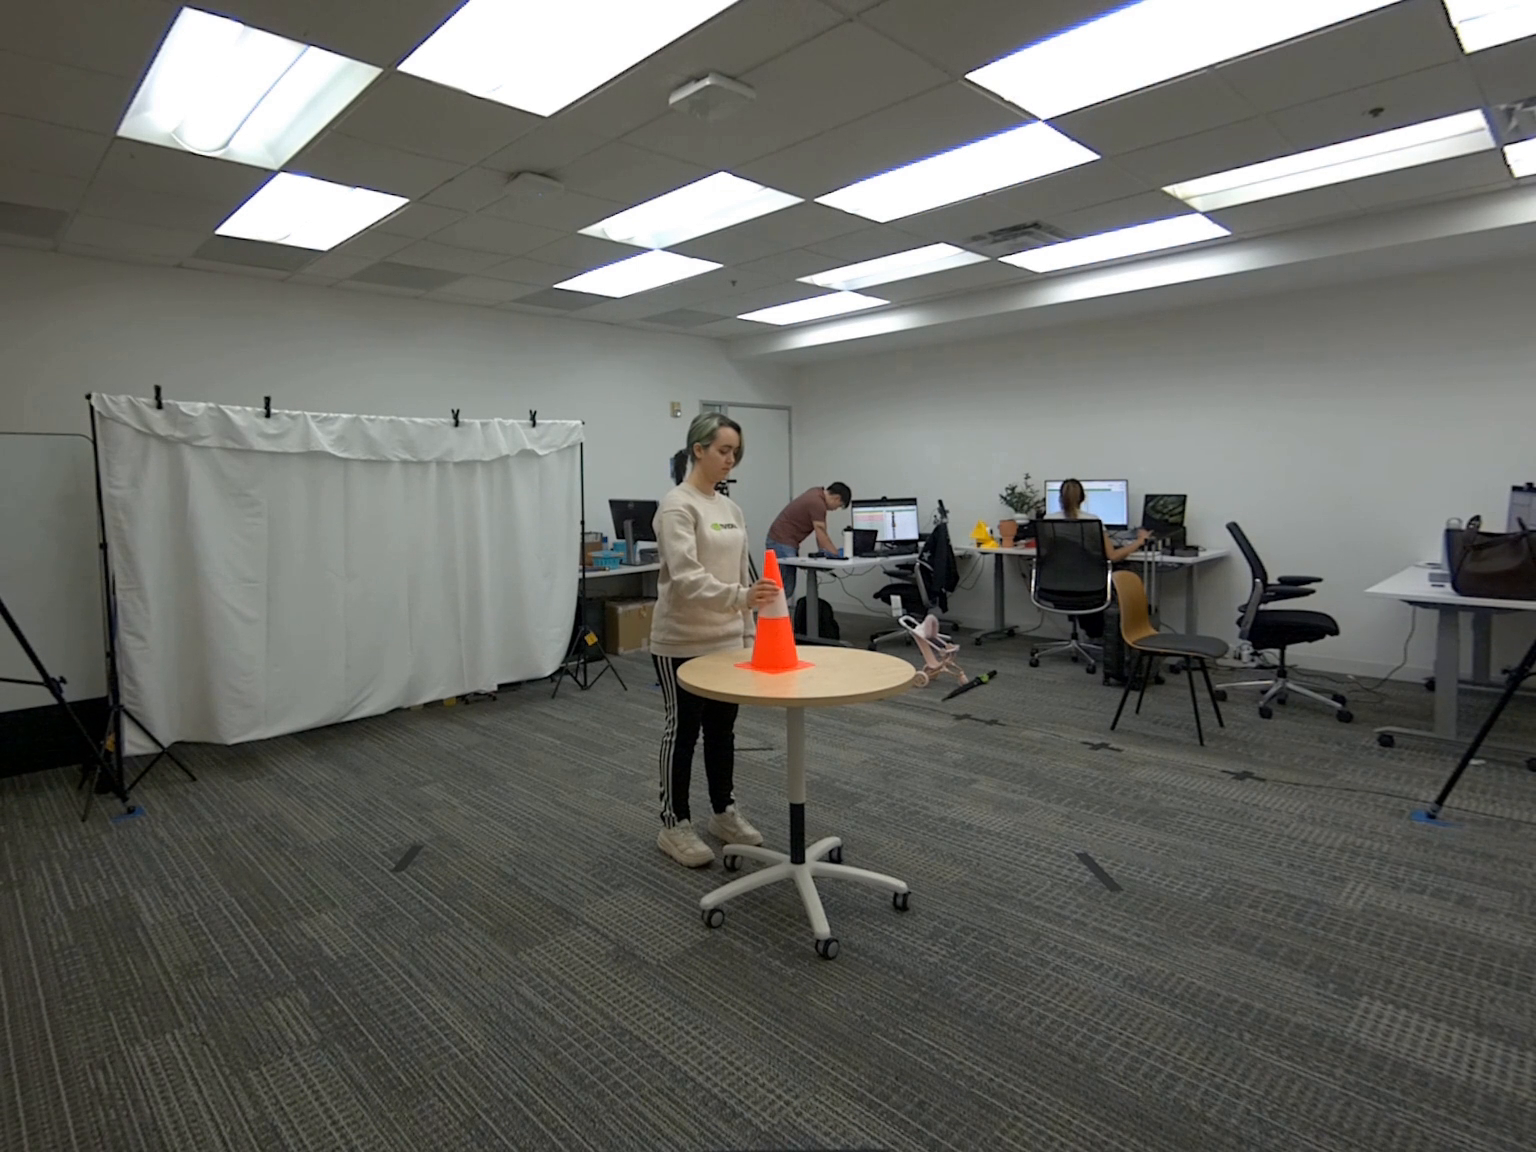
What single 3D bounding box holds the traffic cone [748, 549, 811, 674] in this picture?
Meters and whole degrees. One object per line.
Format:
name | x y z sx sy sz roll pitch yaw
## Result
traffic cone | 0.016 0.106 2.807 0.209 0.383 0.200 0 3 34
